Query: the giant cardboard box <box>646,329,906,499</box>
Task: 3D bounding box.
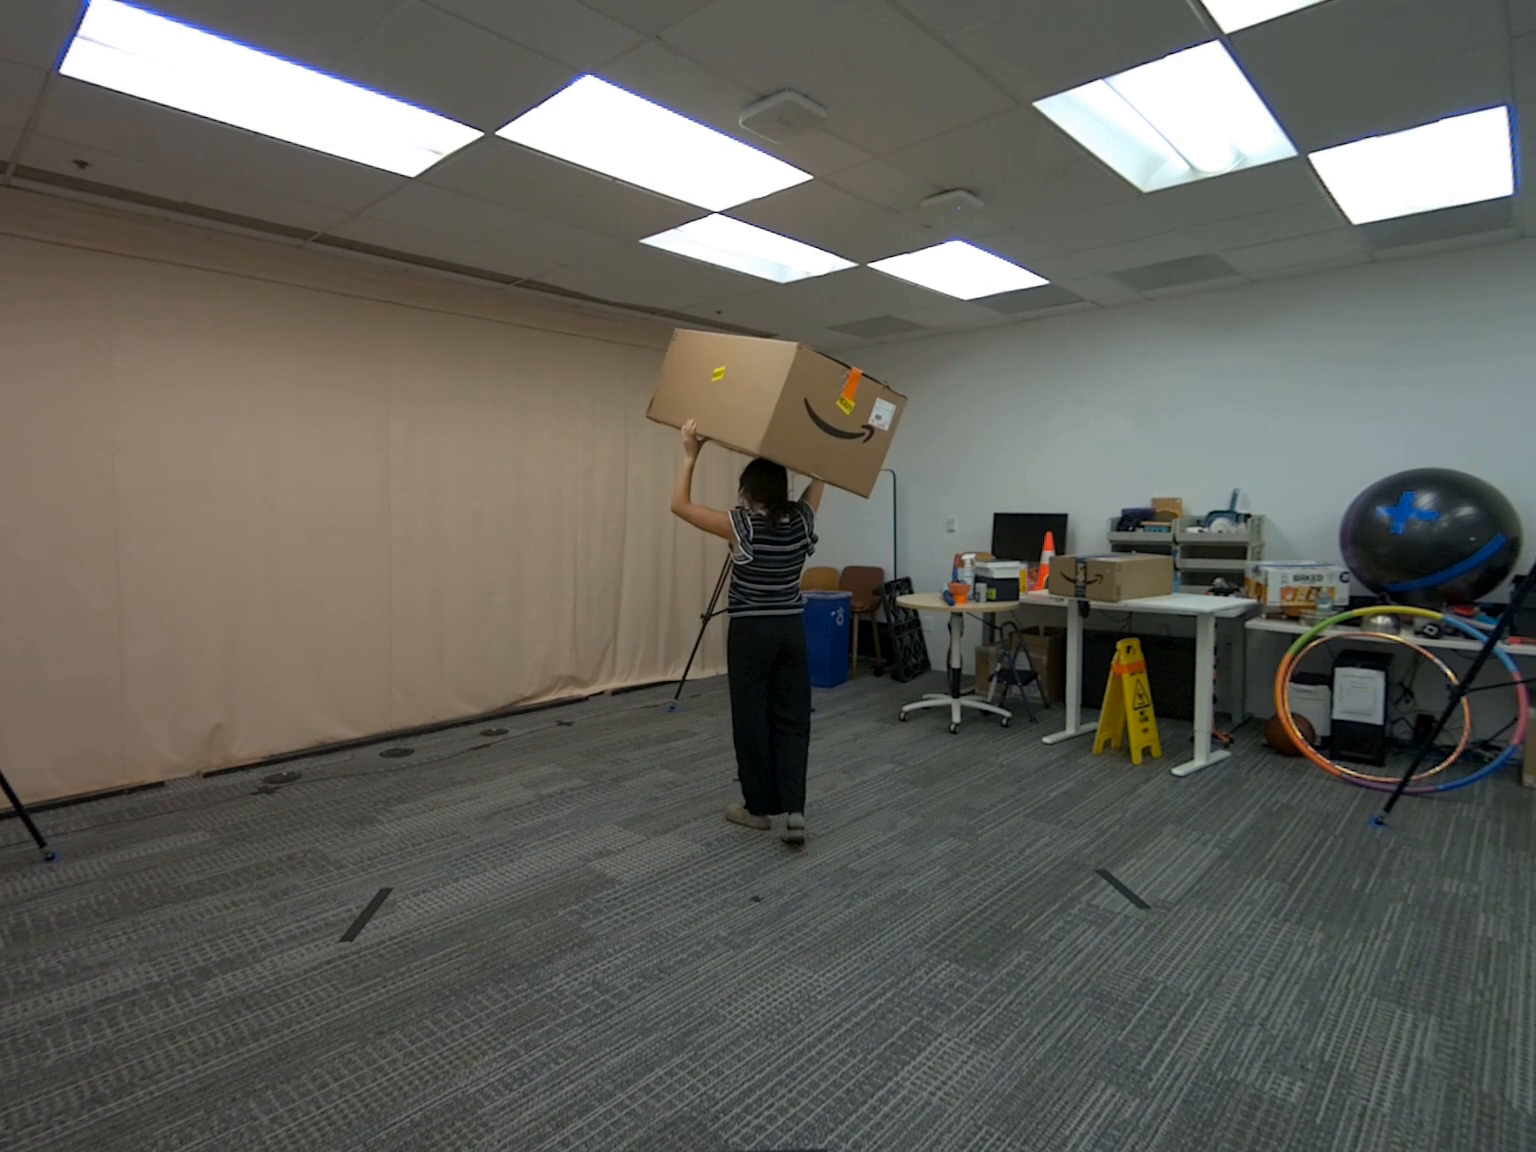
[{"bbox_3d":[-0.004,-0.713,3.585,0.558,0.425,1.062,17,7,-35],"label":"giant cardboard box"}]
